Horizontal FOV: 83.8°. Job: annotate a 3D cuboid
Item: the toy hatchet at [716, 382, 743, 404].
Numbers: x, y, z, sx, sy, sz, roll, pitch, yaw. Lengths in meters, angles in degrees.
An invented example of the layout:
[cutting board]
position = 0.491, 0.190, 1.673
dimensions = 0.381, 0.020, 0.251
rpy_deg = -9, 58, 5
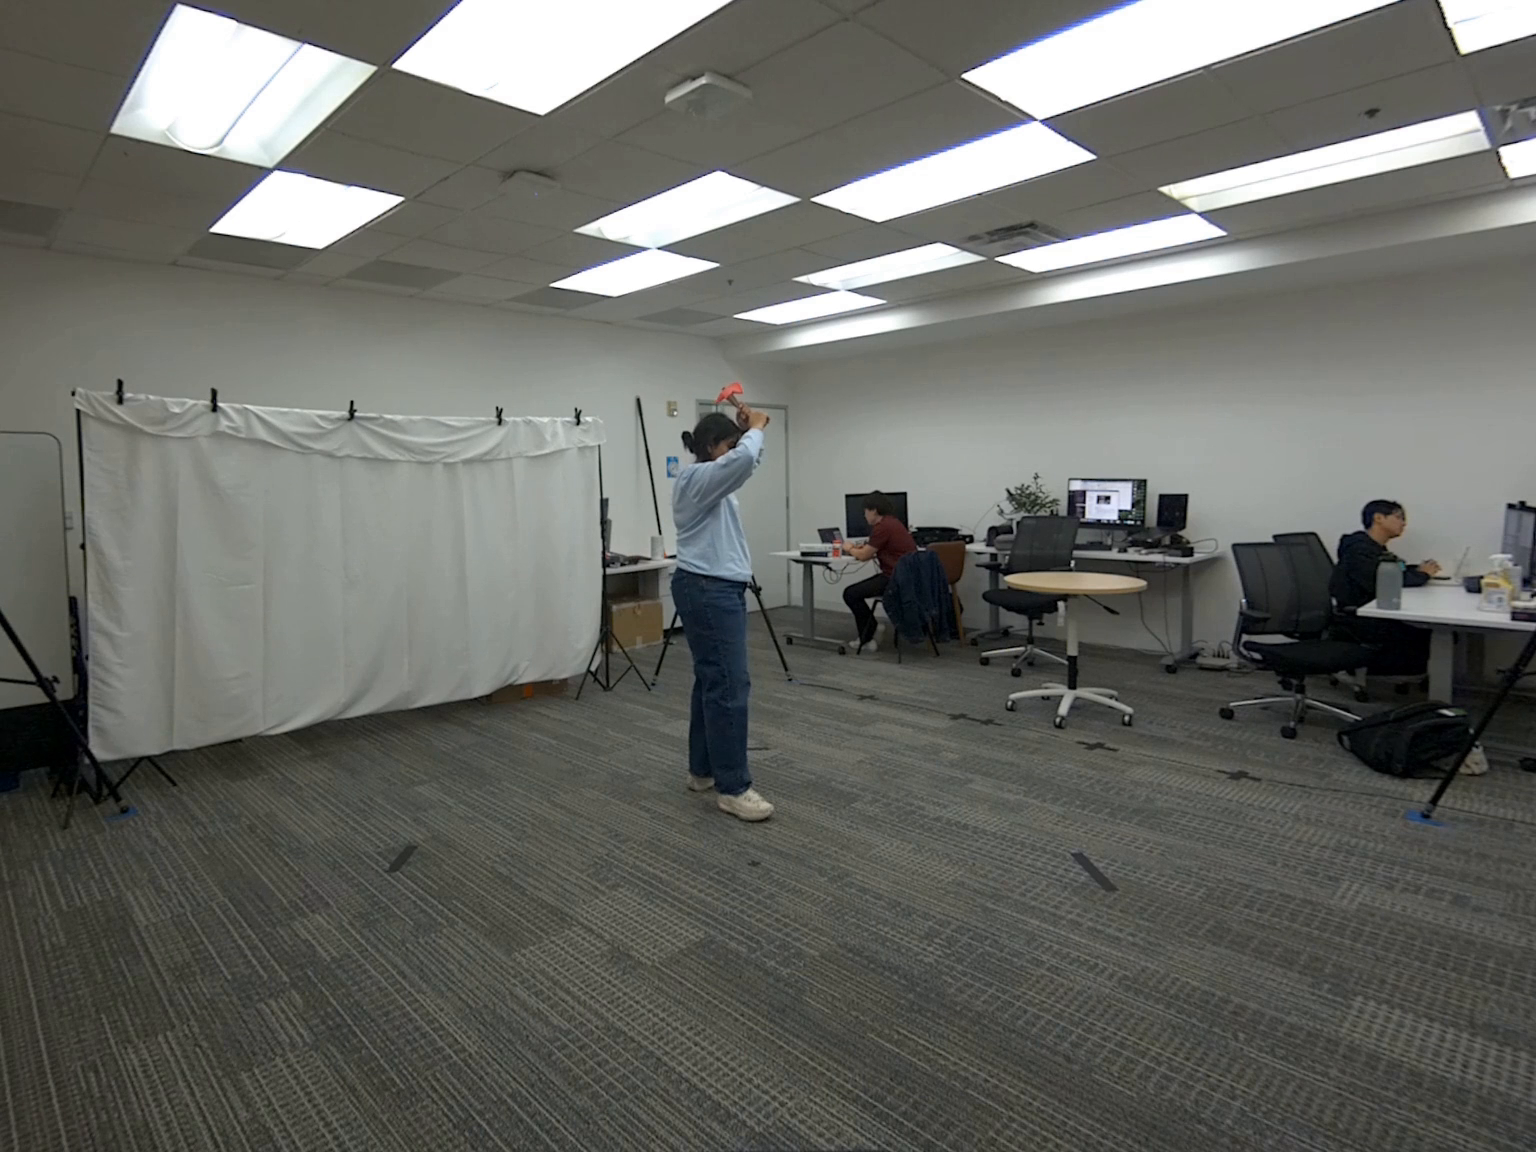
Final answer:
[toy hatchet]
position = -0.095, -0.767, 3.769
dimensions = 0.276, 0.131, 0.029
rpy_deg = 29, -4, 17
